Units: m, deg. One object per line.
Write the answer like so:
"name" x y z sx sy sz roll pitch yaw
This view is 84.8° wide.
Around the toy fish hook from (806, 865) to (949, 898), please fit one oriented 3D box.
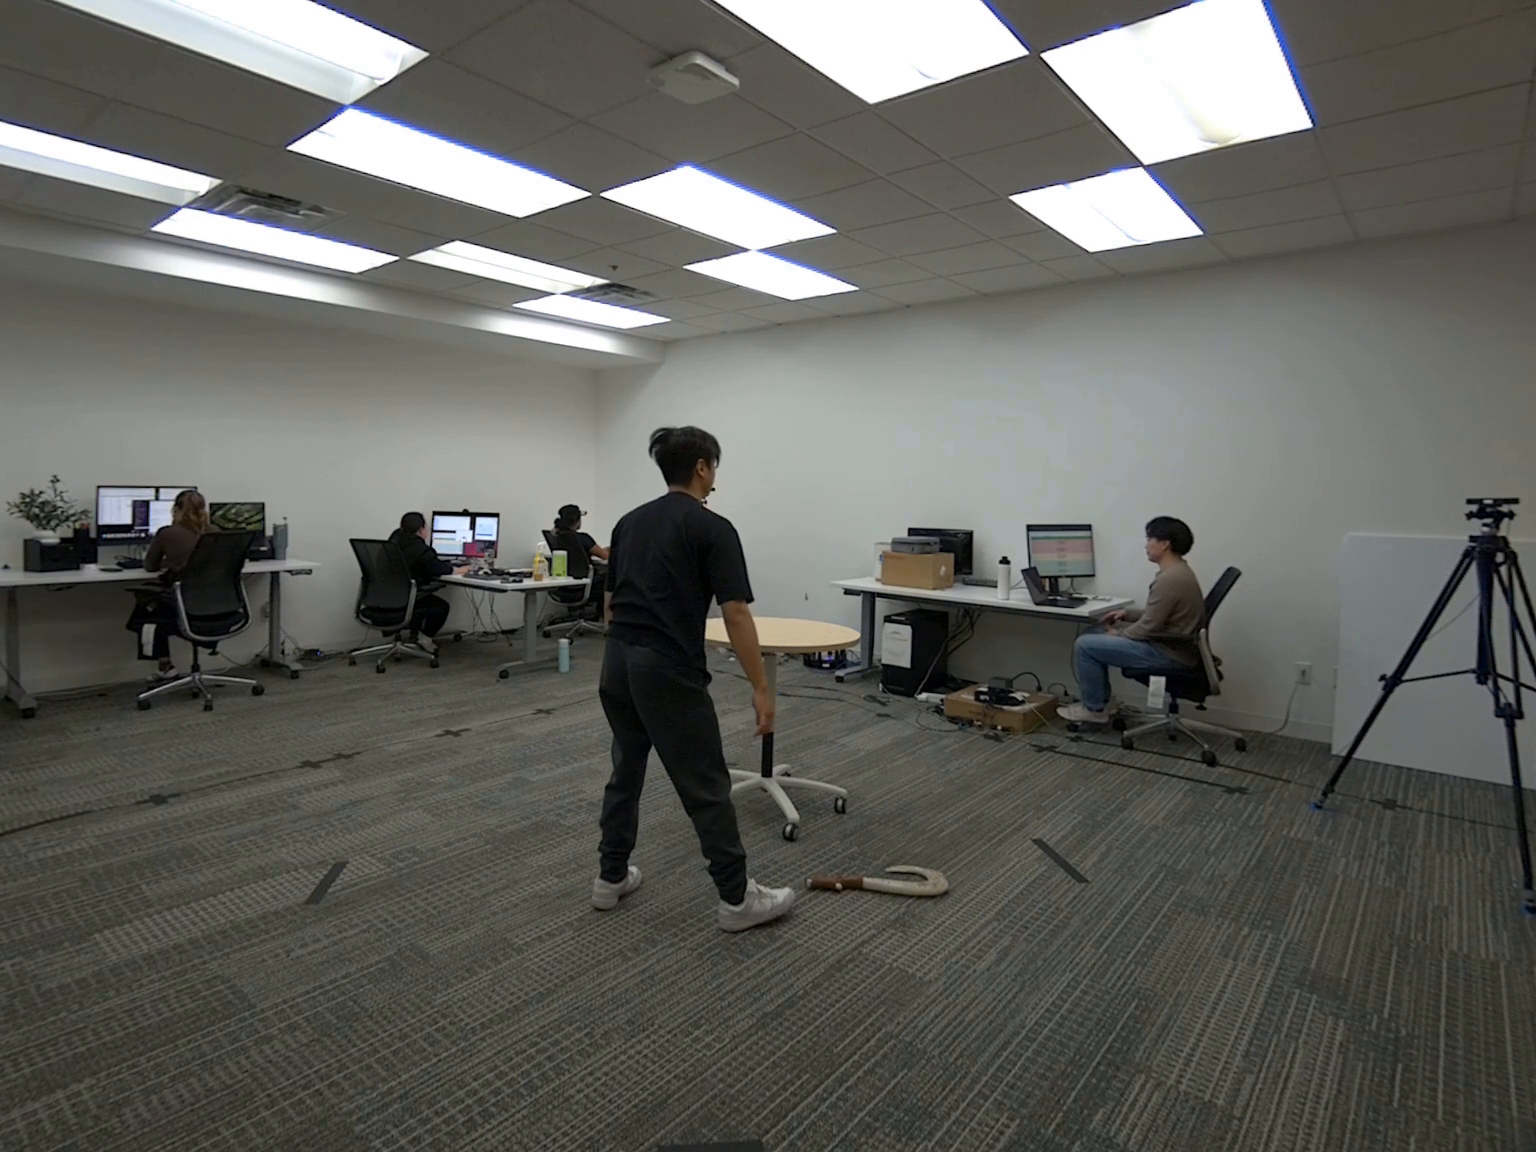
"toy fish hook" 0.376 1.077 3.020 0.506 0.048 0.224 2 -2 -1
